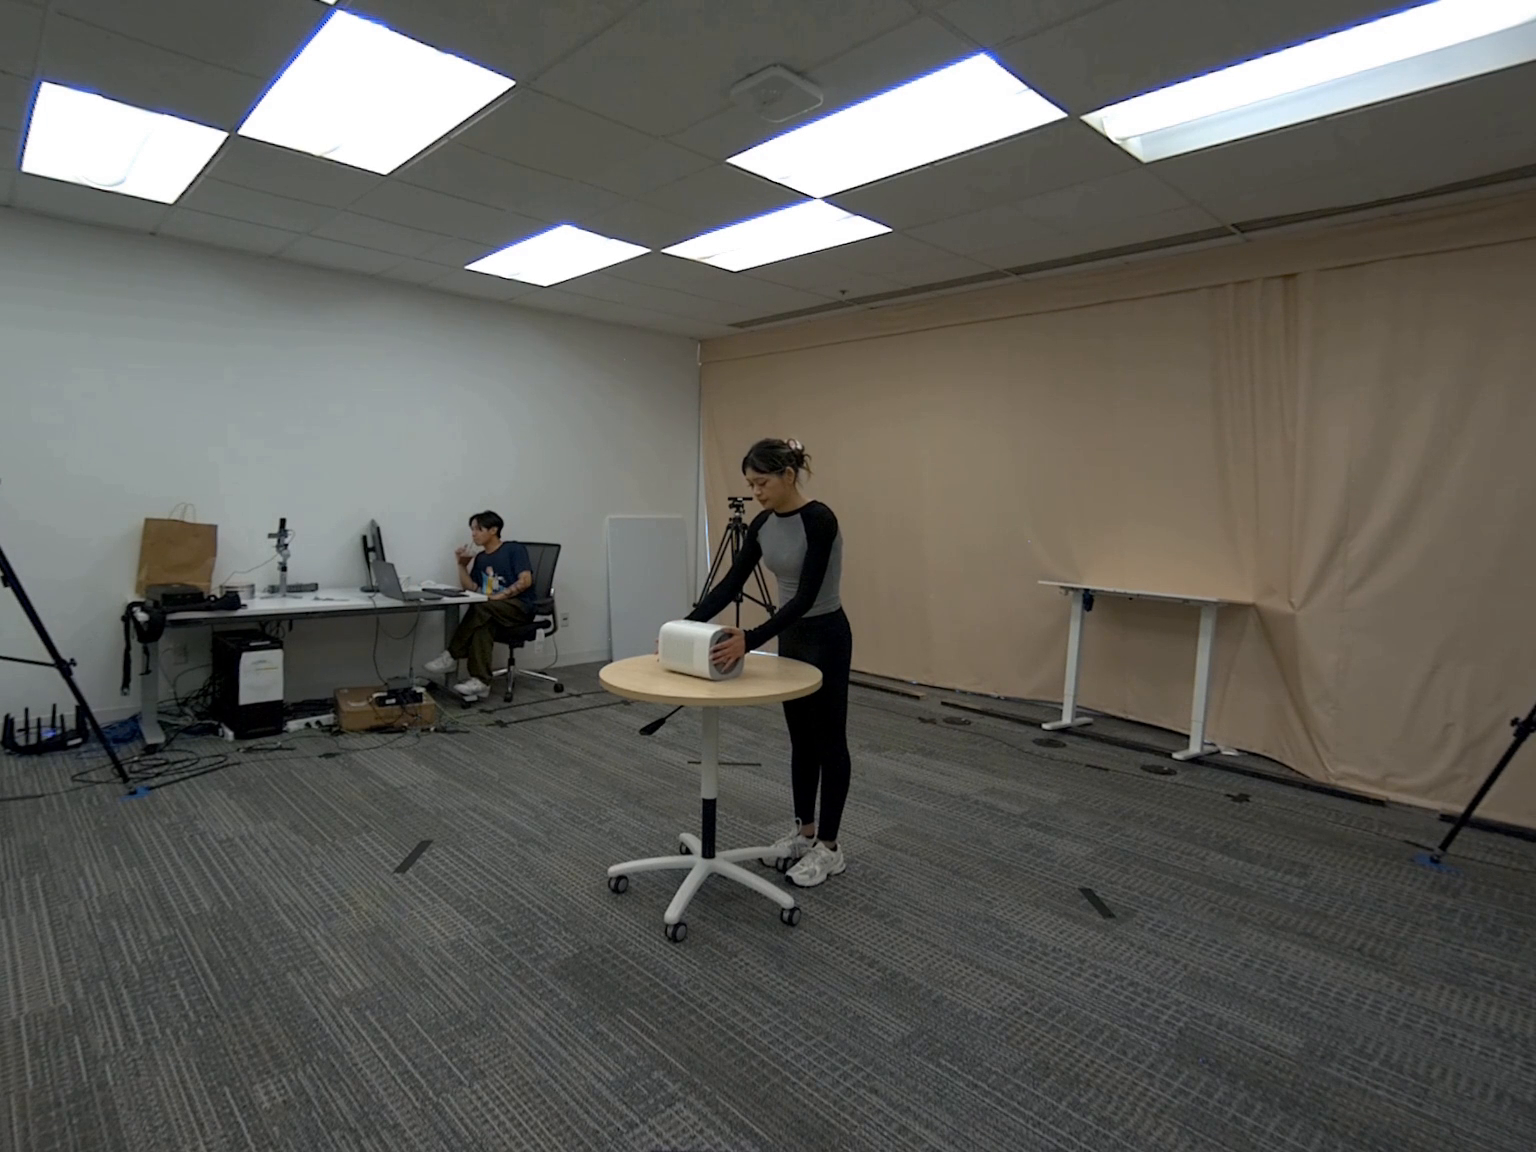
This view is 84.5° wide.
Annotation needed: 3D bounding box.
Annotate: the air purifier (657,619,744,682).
[{"bbox_3d":[-0.238,0.247,2.862,0.272,0.171,0.167,5,5,41],"label":"air purifier"}]
